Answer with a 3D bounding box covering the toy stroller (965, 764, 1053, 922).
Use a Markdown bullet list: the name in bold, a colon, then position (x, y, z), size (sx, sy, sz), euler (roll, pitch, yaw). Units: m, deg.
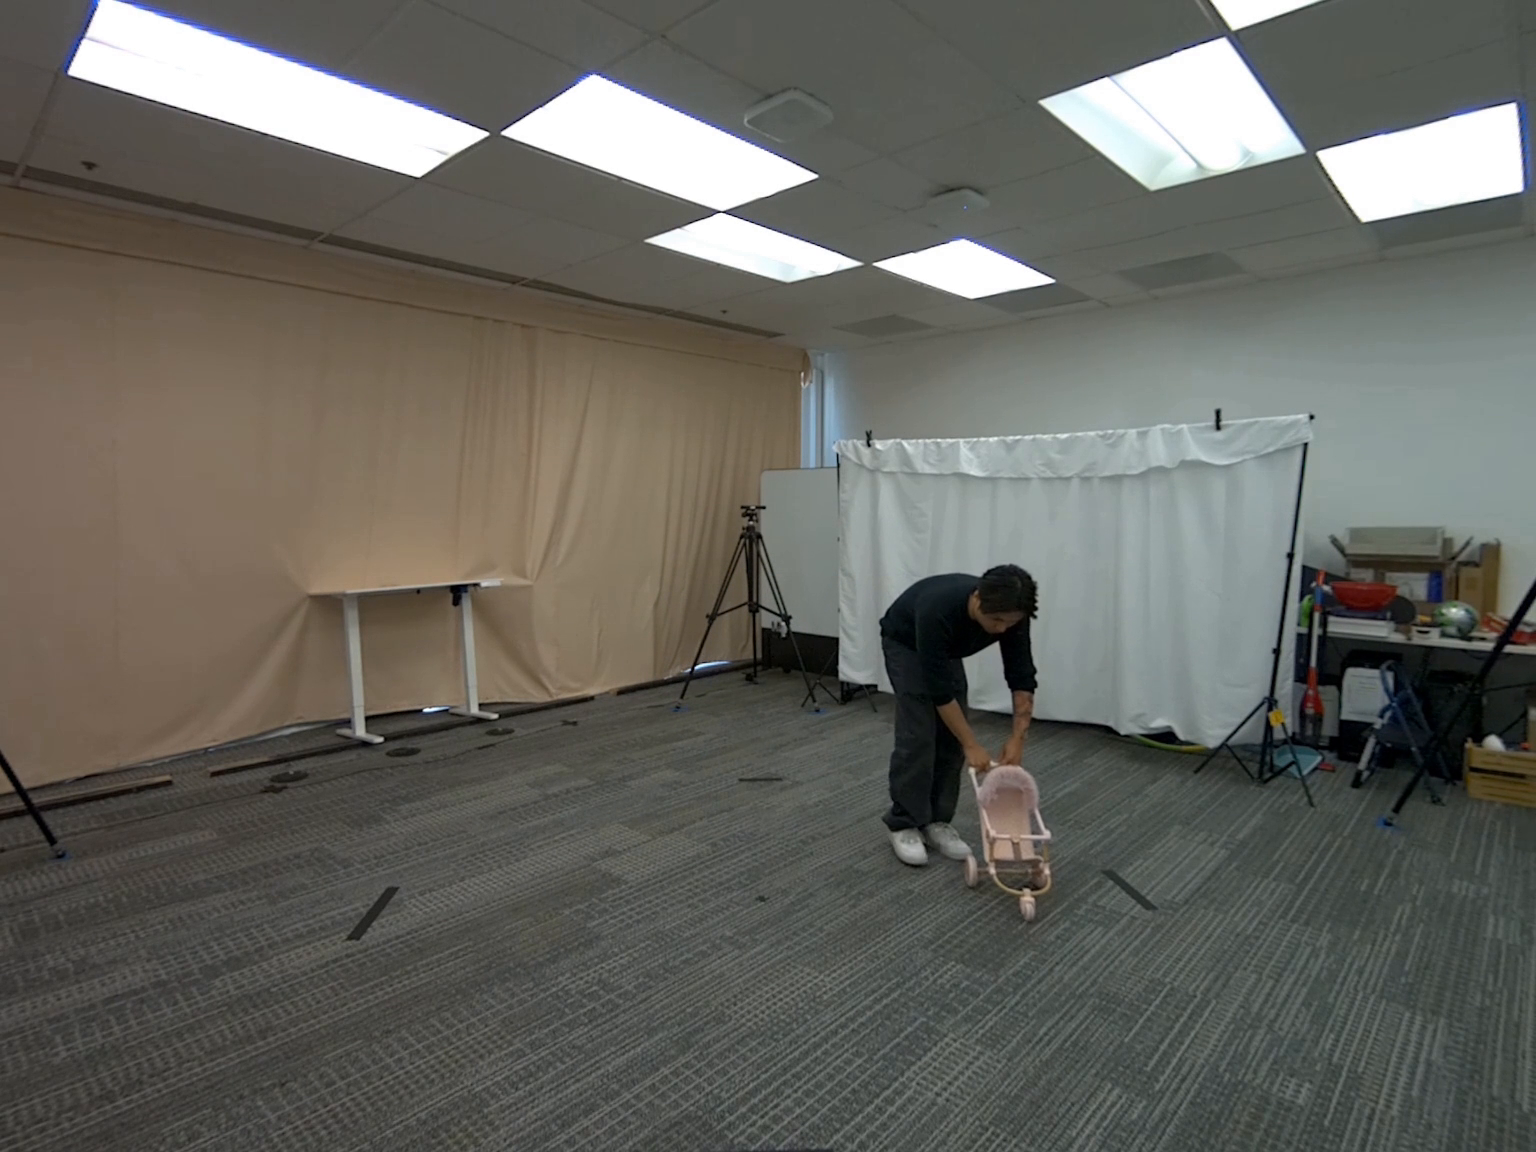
- **toy stroller**: position (0.866, 0.918, 3.005), size (0.283, 0.540, 0.336), euler (1, -15, 4)
